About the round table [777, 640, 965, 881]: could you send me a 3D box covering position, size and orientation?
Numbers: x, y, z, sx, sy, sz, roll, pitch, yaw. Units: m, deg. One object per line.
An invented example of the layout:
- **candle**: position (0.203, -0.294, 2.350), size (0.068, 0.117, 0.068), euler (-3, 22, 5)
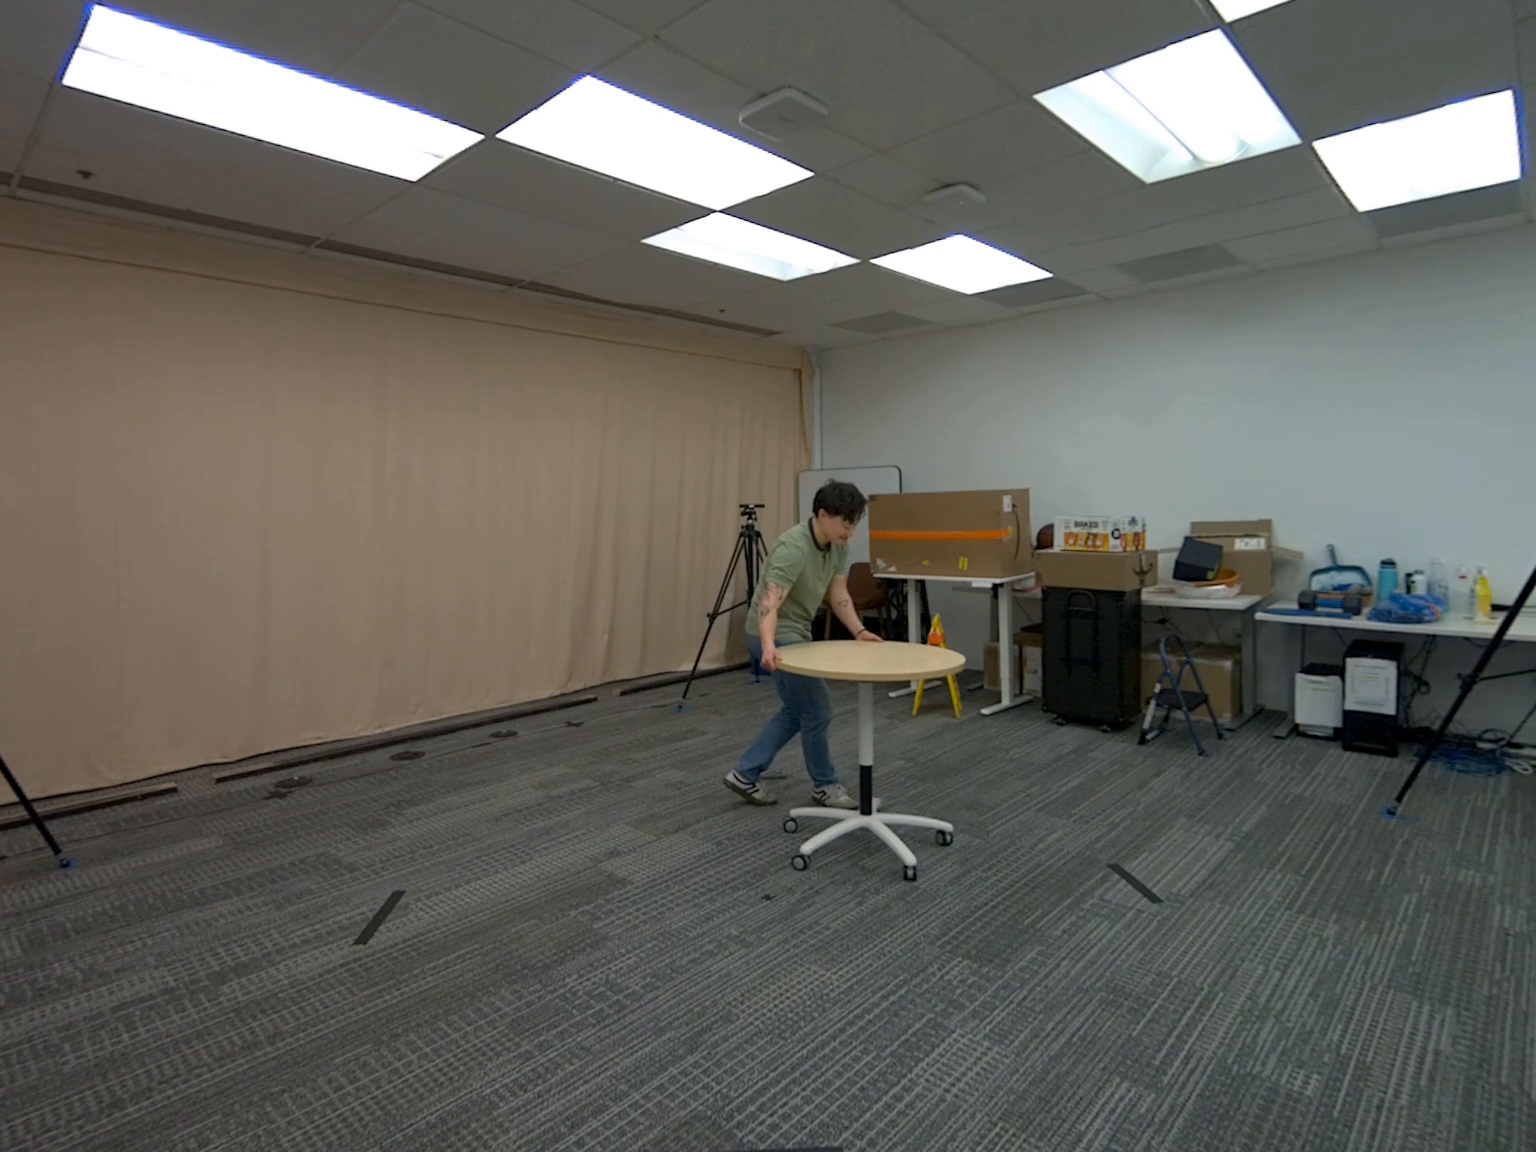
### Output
- **round table**: position (0.391, 0.708, 3.380), size (0.763, 0.792, 0.766), euler (0, 4, -2)
